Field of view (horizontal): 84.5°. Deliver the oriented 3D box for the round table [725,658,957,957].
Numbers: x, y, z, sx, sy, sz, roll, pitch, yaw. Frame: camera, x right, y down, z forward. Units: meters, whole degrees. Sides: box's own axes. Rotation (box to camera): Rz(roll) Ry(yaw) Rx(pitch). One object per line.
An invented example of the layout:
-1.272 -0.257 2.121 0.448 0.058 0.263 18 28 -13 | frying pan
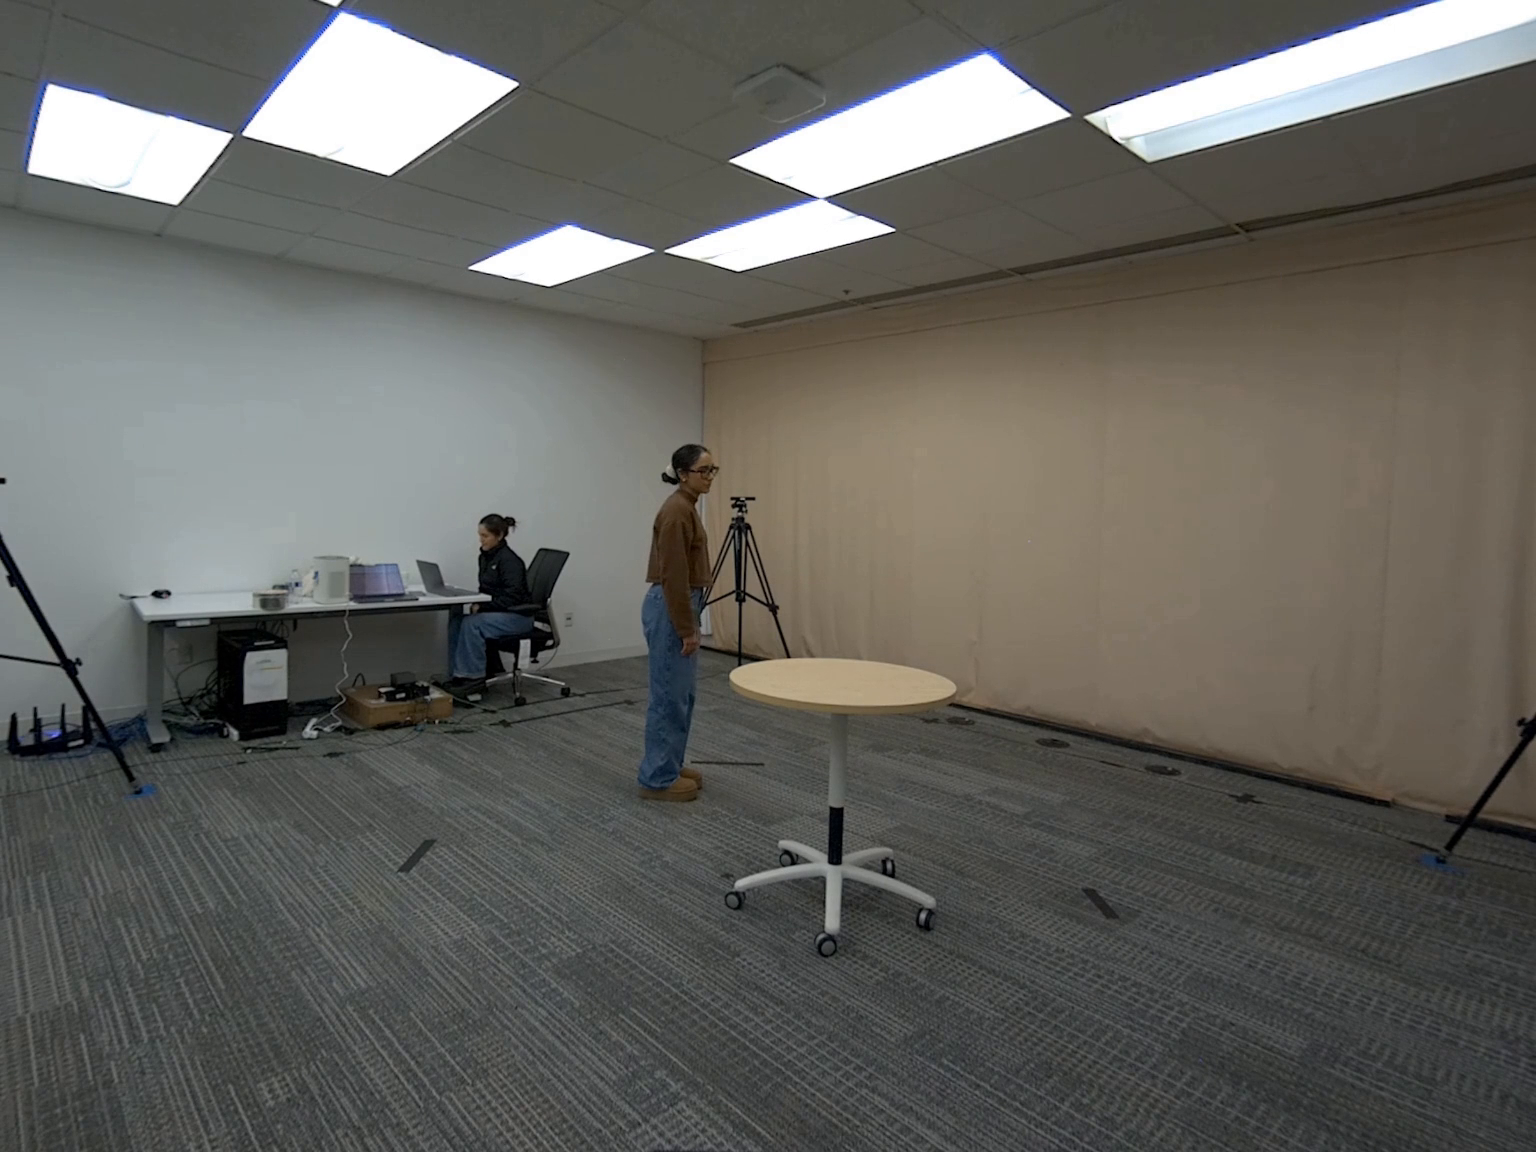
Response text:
0.238 0.744 2.887 0.784 0.784 0.788 2 4 -1 | round table
